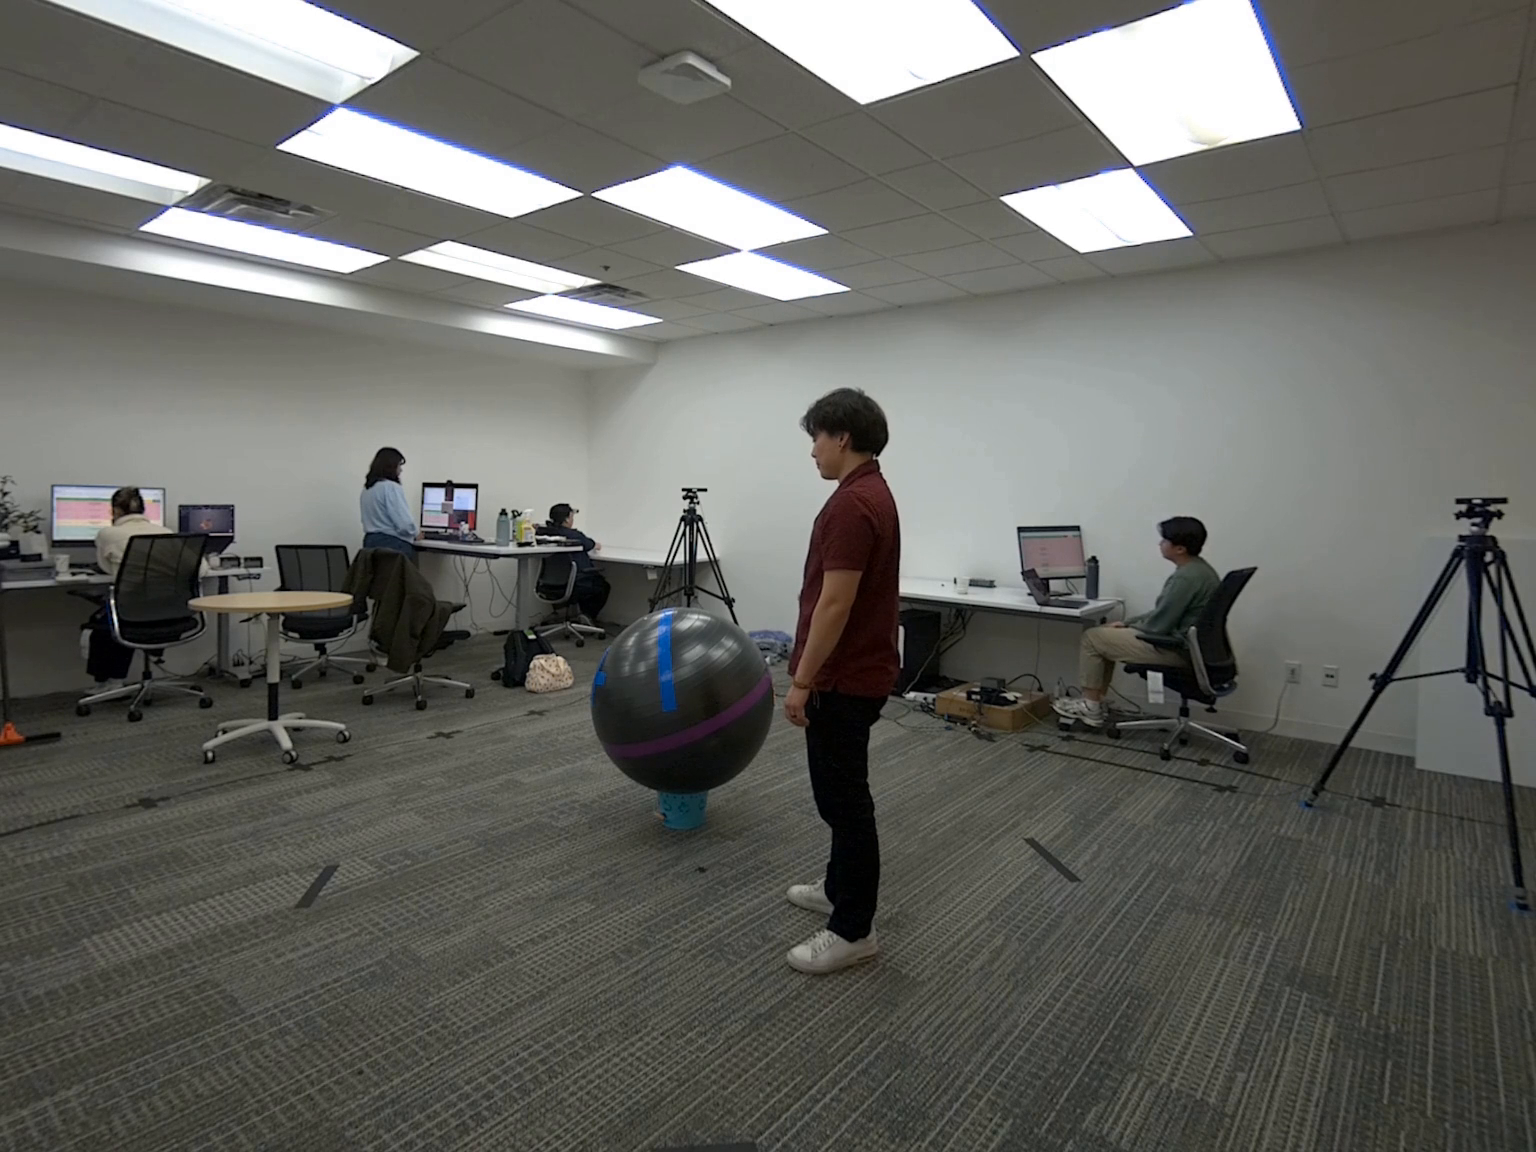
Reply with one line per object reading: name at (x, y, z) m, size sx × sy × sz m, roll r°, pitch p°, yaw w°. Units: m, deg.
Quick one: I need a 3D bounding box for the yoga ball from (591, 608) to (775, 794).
yoga ball at (-0.368, 0.515, 3.543) m, size 0.757 × 0.755 × 0.762 m, roll 1°, pitch 4°, yaw -2°
